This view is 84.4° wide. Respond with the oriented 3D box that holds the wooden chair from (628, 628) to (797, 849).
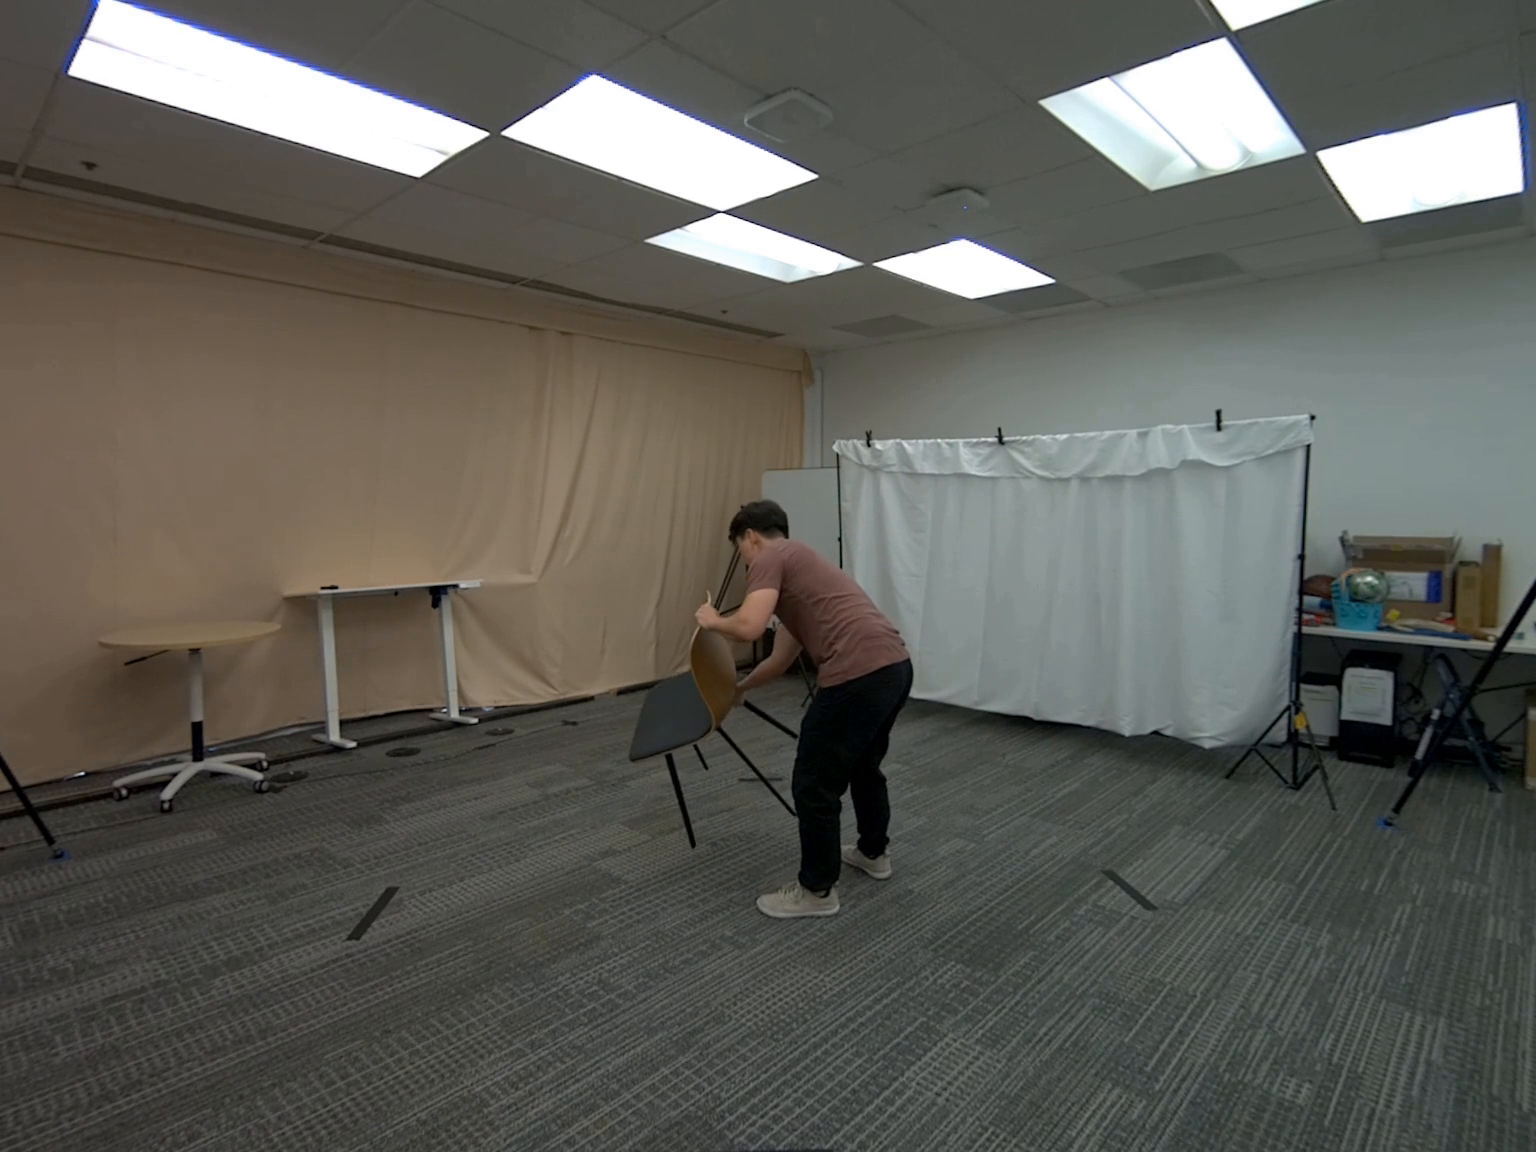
[{"bbox_3d":[-0.281,0.540,3.262,0.530,0.857,0.483,-19,26,16],"label":"wooden chair"}]
